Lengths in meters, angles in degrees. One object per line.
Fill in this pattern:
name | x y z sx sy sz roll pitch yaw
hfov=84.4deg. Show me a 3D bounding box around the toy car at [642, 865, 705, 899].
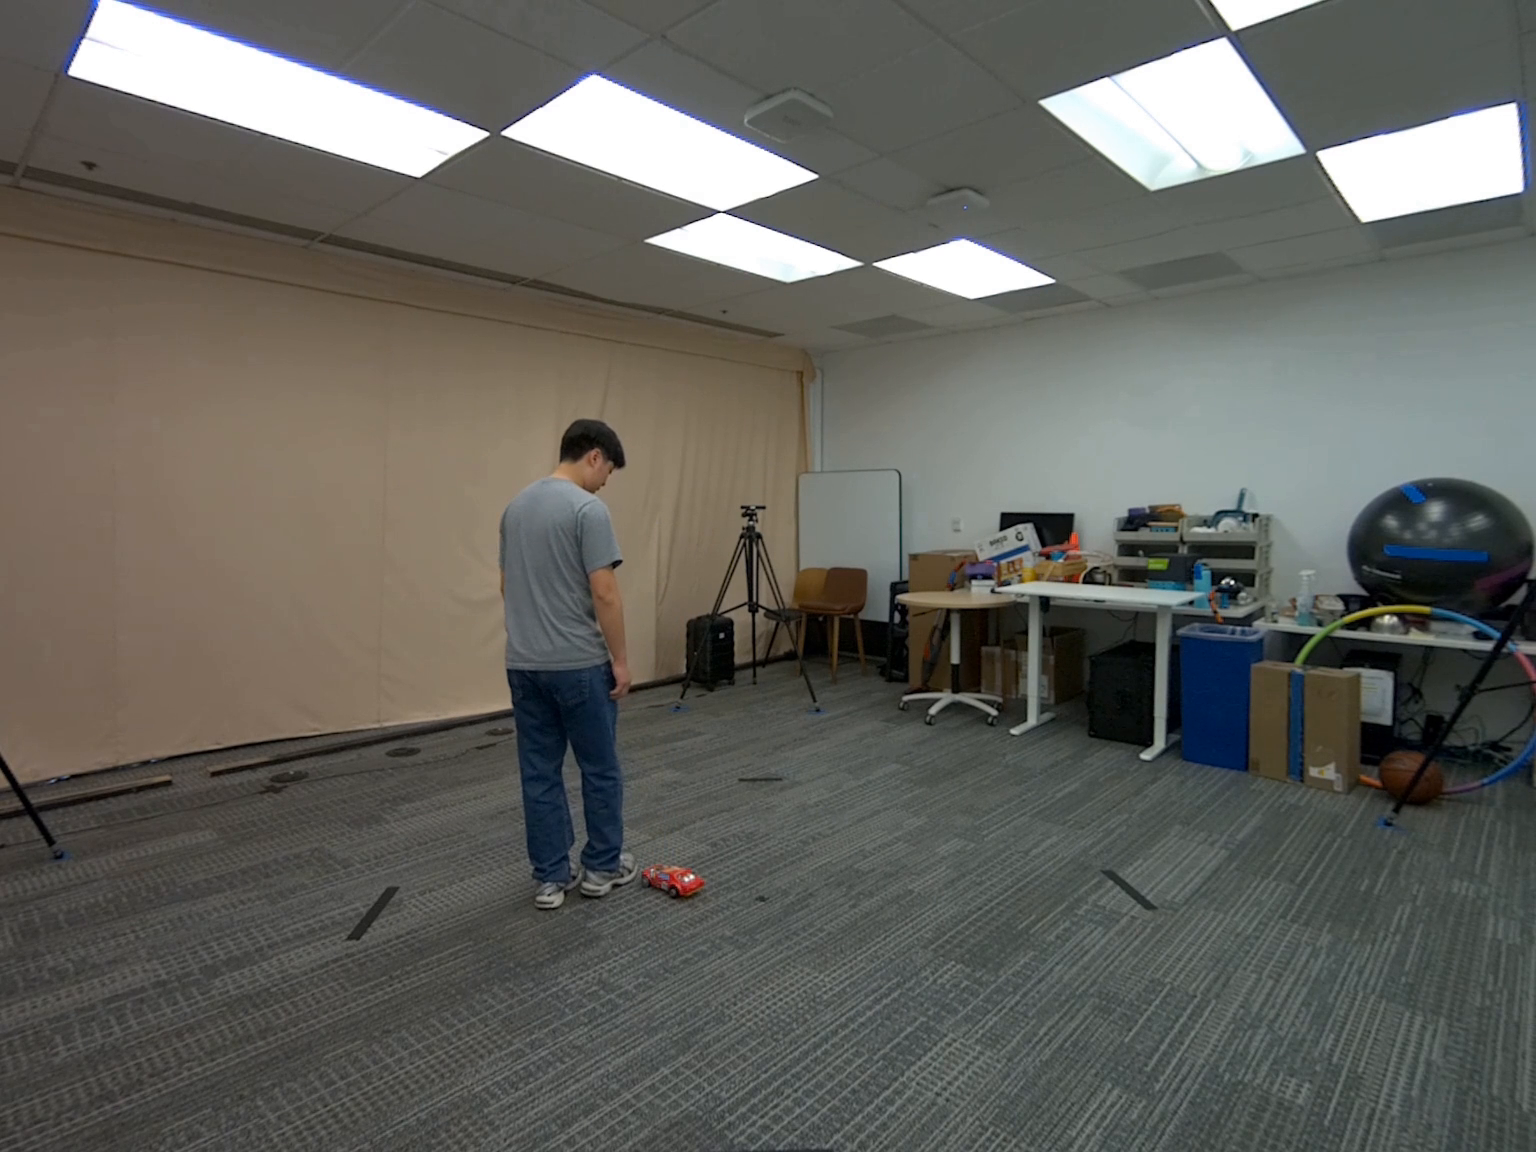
toy car | -0.337 1.111 3.043 0.261 0.083 0.126 -11 -3 39
